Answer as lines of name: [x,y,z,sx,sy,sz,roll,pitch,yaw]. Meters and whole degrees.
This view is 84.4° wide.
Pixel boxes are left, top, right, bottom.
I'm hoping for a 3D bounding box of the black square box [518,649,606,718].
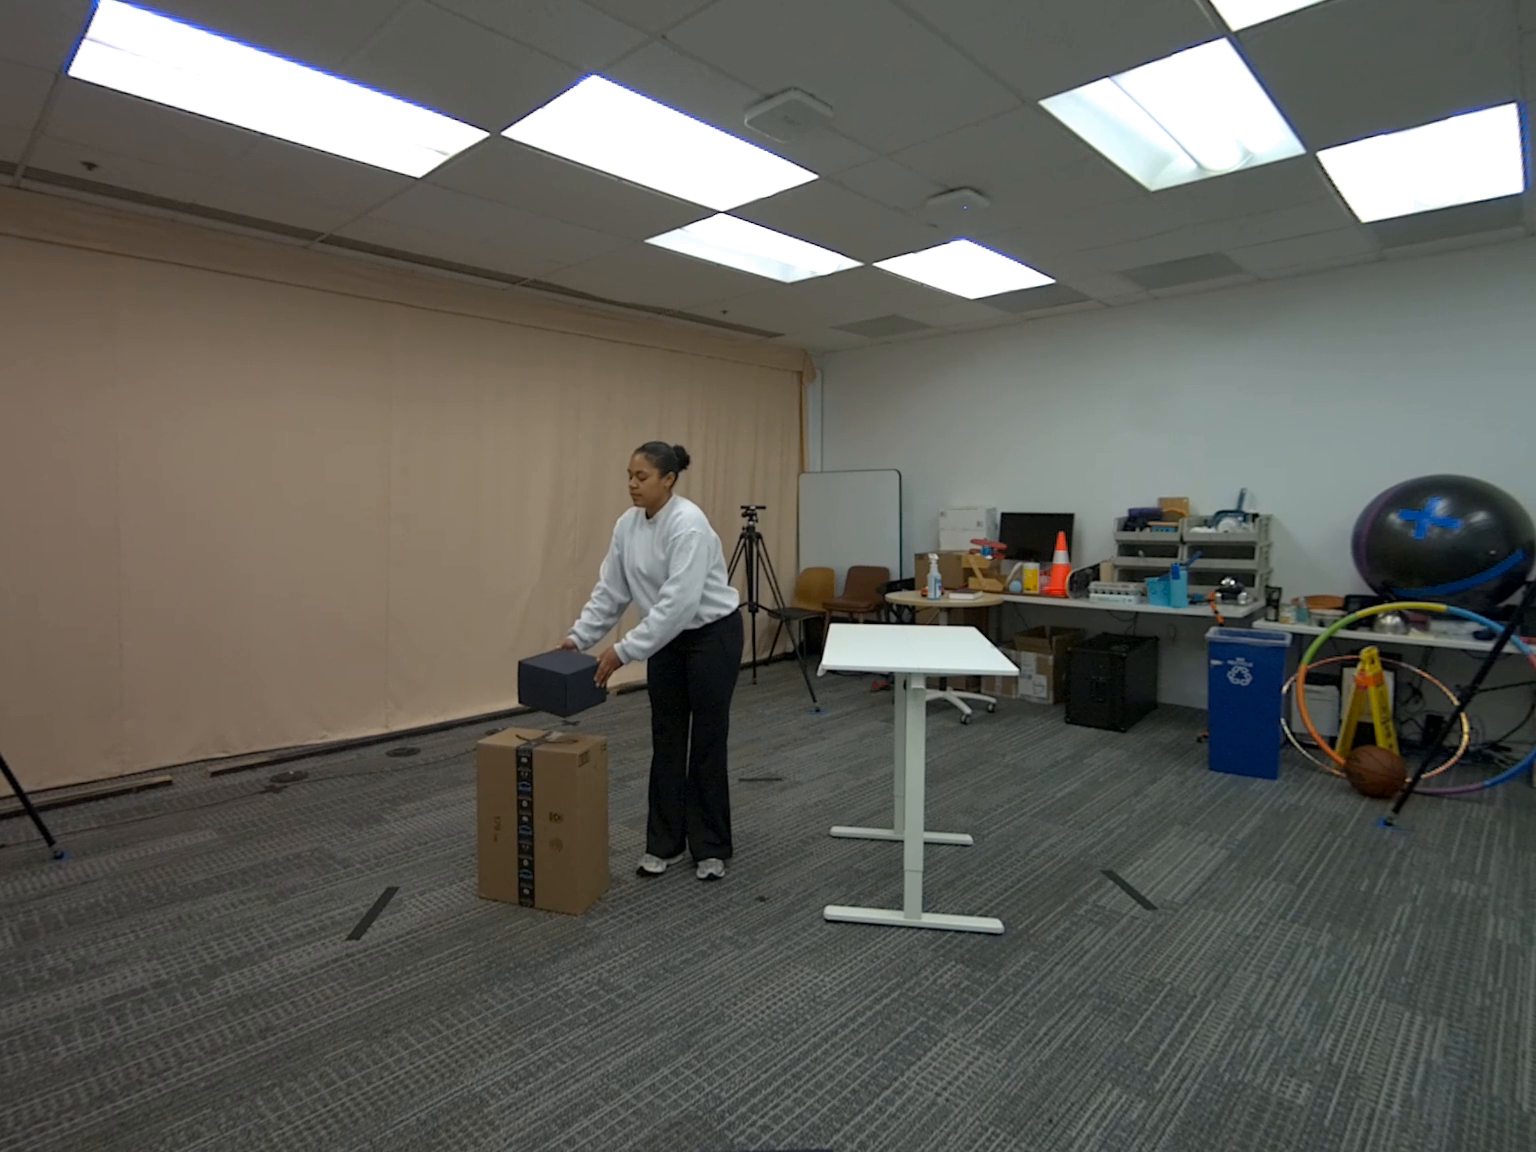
black square box: [-0.711,0.363,2.945,0.235,0.155,0.211,8,10,29]
